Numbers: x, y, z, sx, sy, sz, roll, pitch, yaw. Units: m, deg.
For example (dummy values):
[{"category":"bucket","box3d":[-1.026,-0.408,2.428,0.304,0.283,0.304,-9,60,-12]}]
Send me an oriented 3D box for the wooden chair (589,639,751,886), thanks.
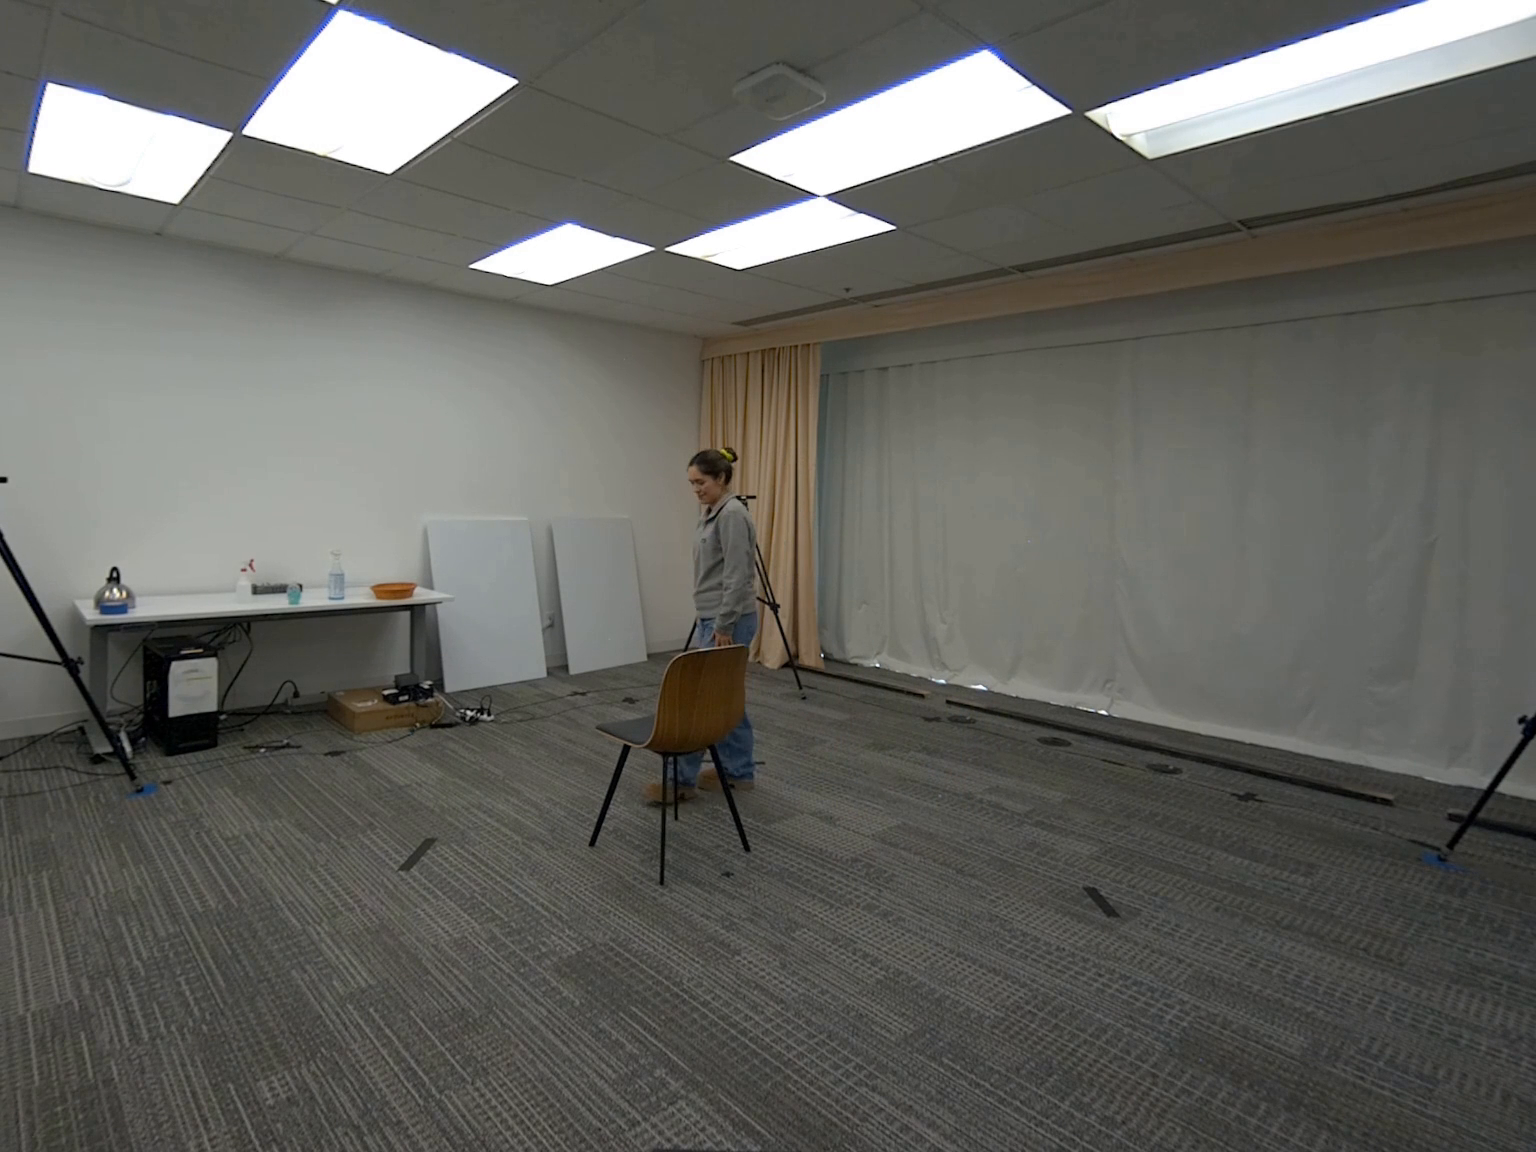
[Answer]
[{"category":"wooden chair","box3d":[-0.388,0.651,3.290,0.537,0.873,0.467,11,10,44]}]
